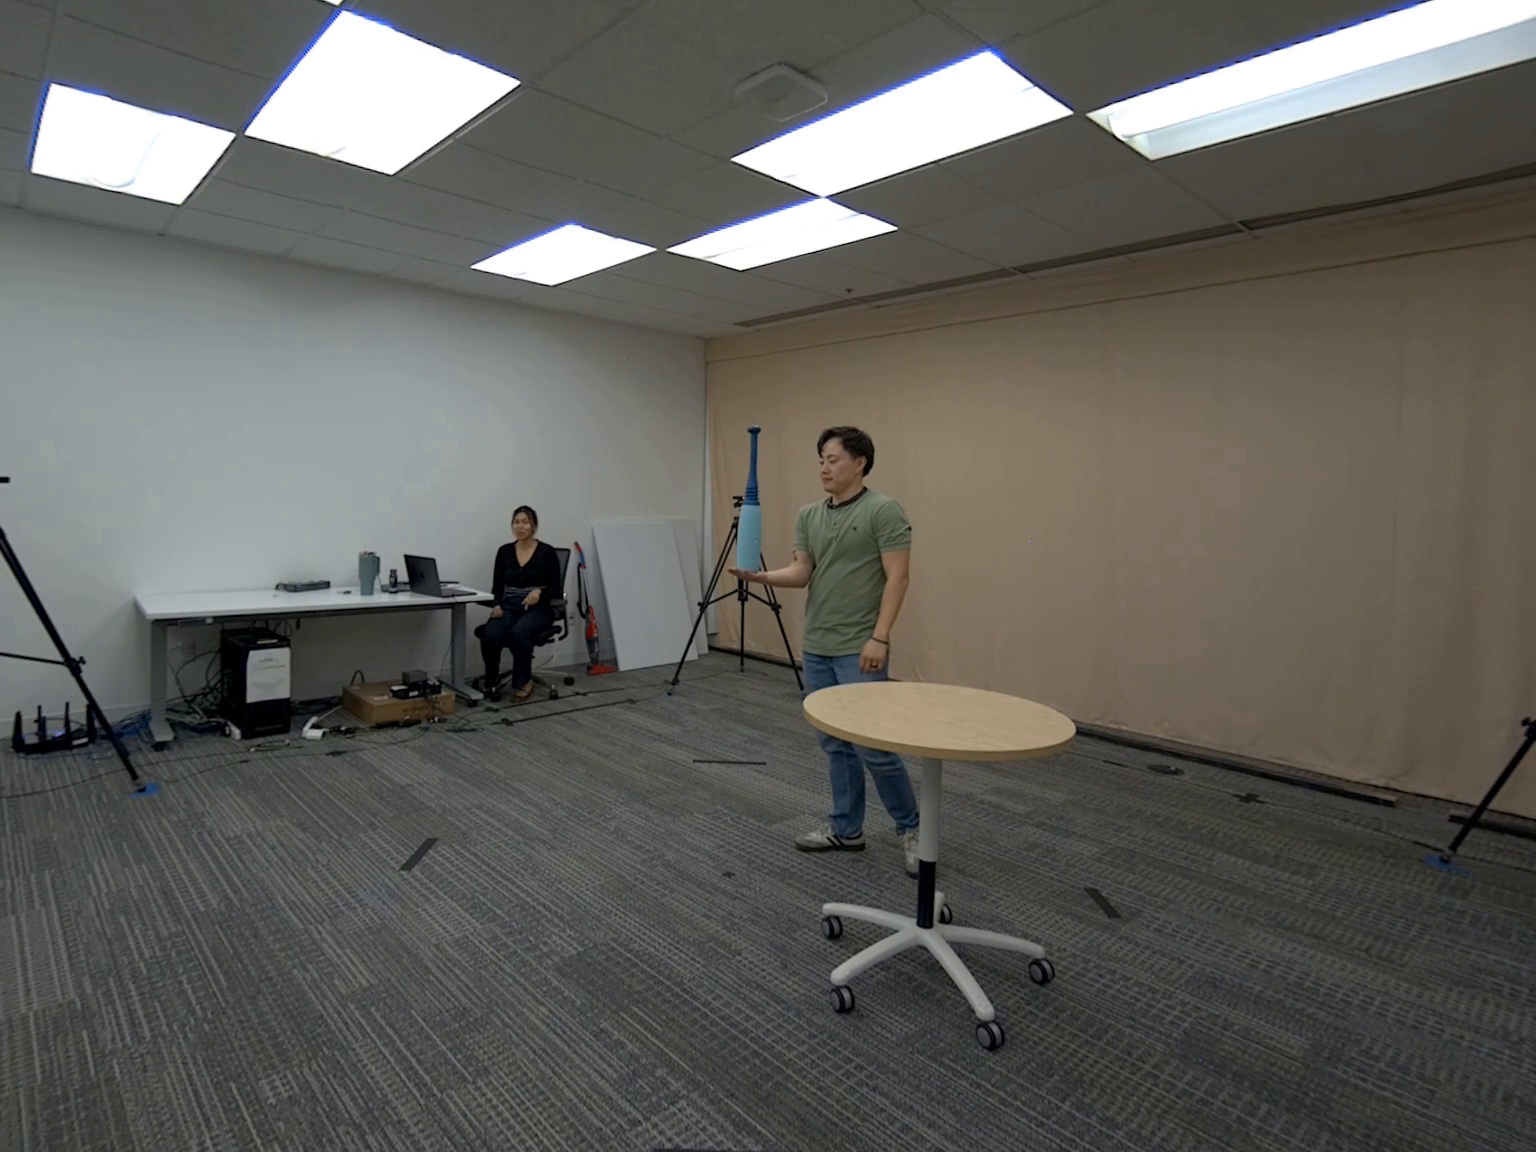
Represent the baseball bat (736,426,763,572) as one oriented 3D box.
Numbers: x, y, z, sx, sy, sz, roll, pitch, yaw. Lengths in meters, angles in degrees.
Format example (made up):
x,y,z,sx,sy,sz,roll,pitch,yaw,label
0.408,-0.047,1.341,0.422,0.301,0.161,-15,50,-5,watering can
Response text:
x,y,z,sx,sy,sz,roll,pitch,yaw,label
-0.068,-0.282,3.110,0.089,0.542,0.089,3,2,-2,baseball bat
